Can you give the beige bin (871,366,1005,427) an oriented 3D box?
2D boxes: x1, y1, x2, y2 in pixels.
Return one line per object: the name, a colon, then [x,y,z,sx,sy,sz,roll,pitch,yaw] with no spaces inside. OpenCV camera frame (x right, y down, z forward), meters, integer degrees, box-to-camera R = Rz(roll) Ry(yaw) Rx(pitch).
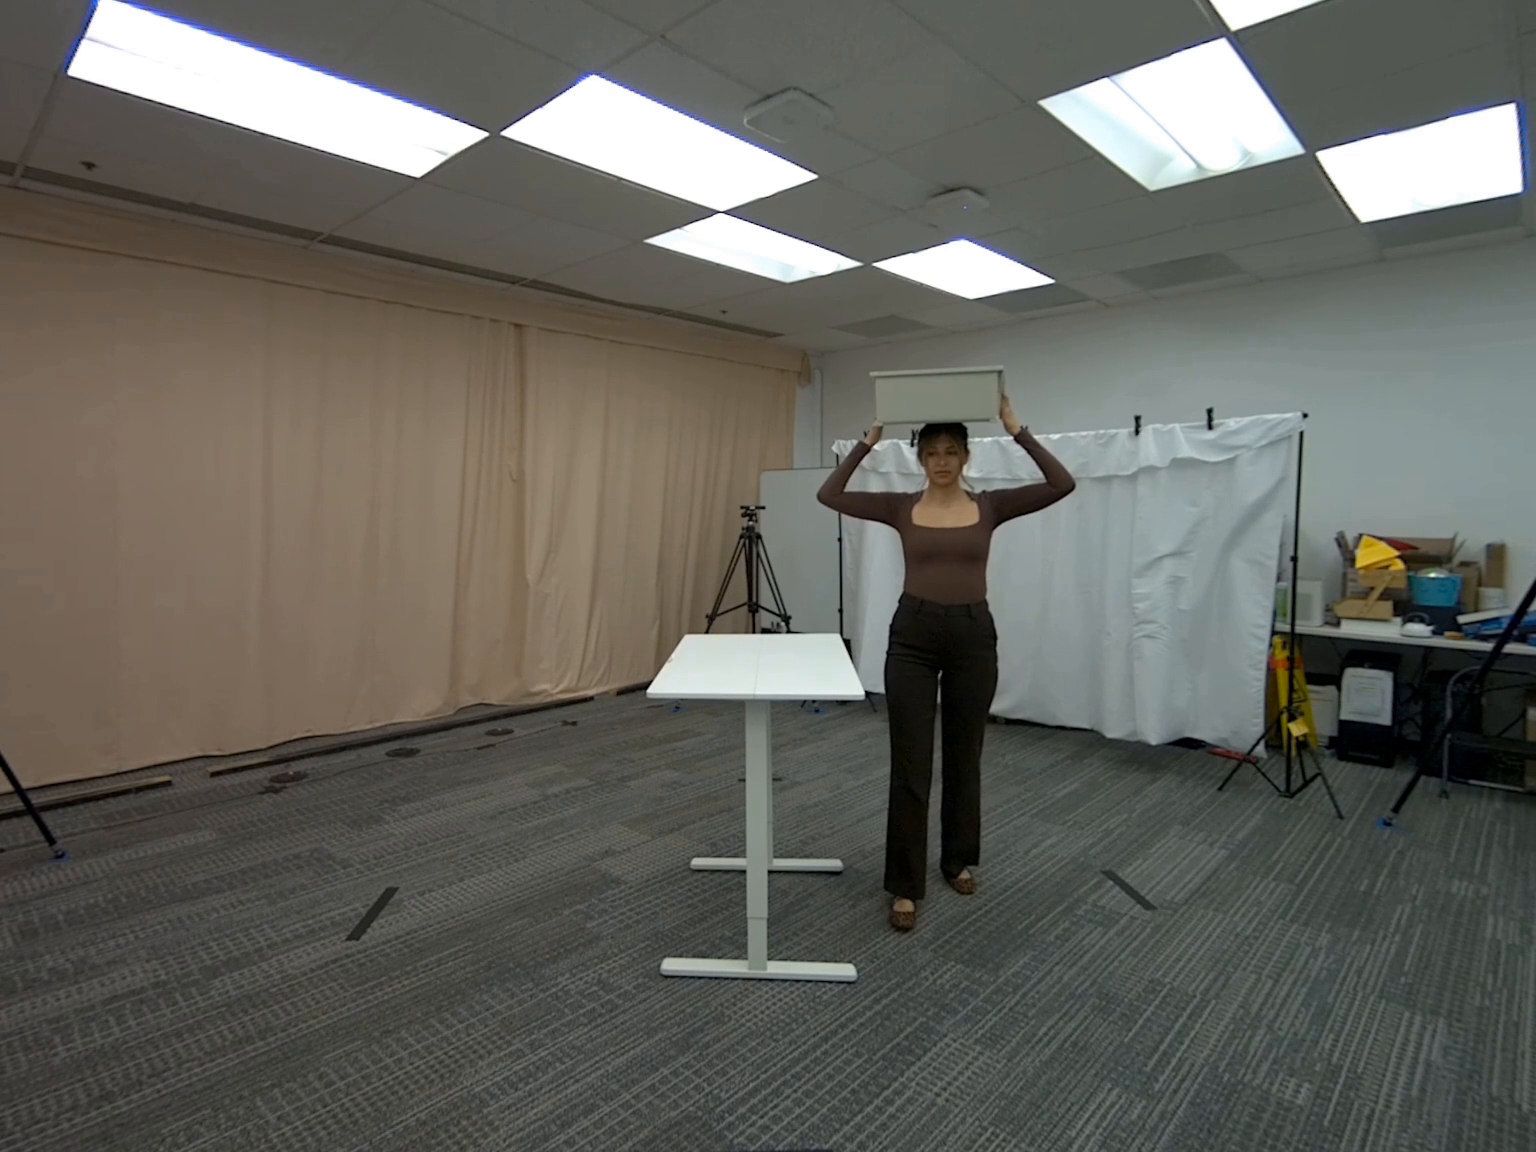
beige bin: [0.601,-0.624,2.928,0.431,0.187,0.373,1,13,18]
